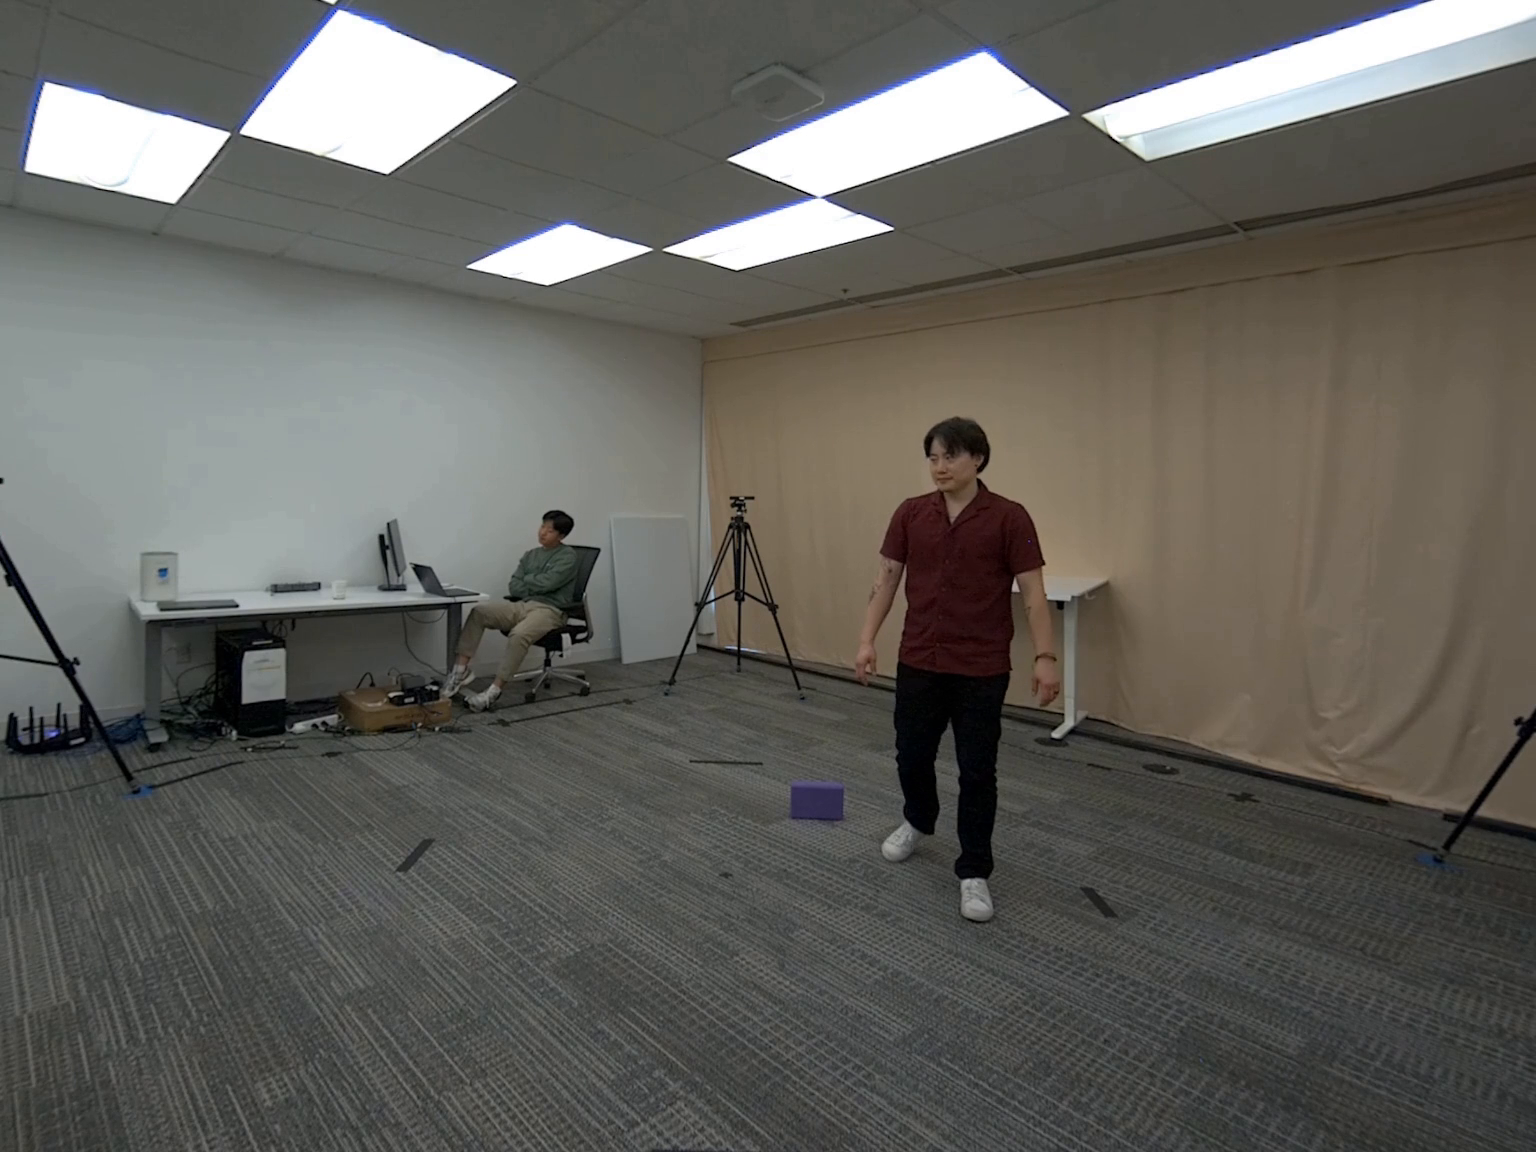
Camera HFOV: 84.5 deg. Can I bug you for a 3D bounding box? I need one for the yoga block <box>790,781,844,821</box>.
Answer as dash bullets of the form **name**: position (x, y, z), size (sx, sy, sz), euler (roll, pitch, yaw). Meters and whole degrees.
- **yoga block**: position (0.207, 0.981, 3.704), size (0.230, 0.149, 0.076), euler (2, 3, 2)
